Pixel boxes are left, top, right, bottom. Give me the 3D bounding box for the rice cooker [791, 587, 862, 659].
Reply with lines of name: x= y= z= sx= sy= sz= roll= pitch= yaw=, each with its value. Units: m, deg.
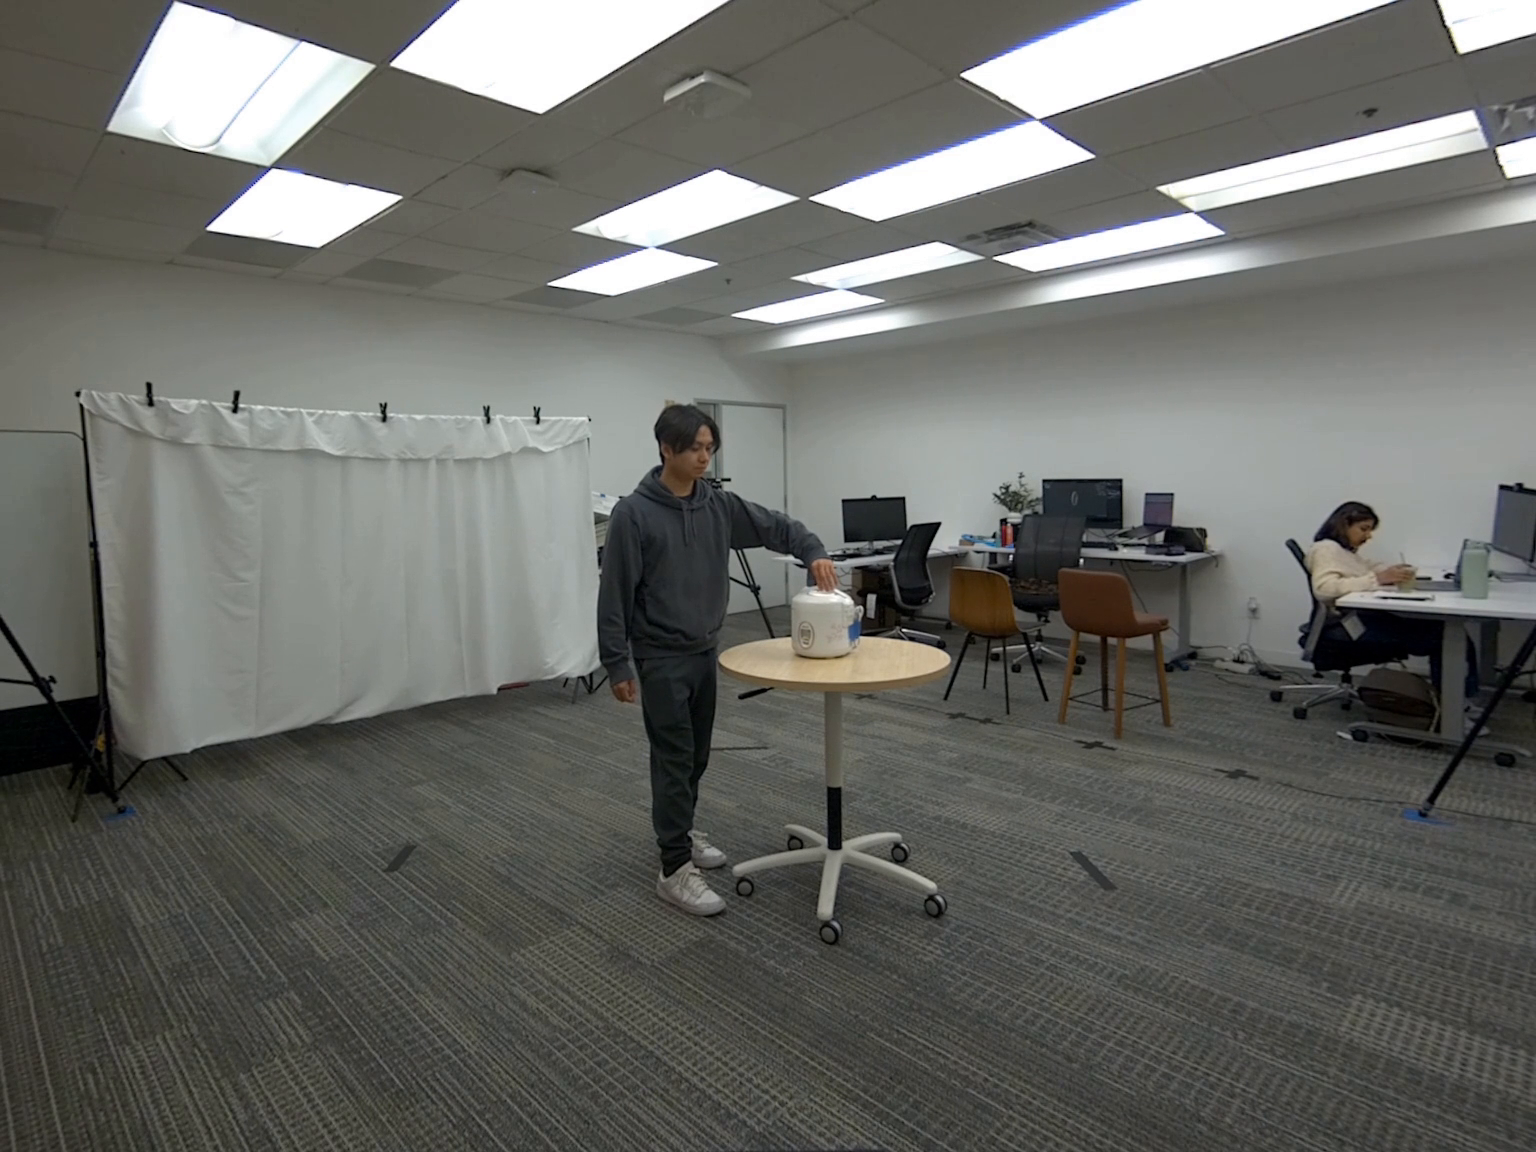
rice cooker: x=0.184 y=0.149 z=2.888 sx=0.227 sy=0.232 sz=0.212 roll=2 pitch=5 yaw=34
